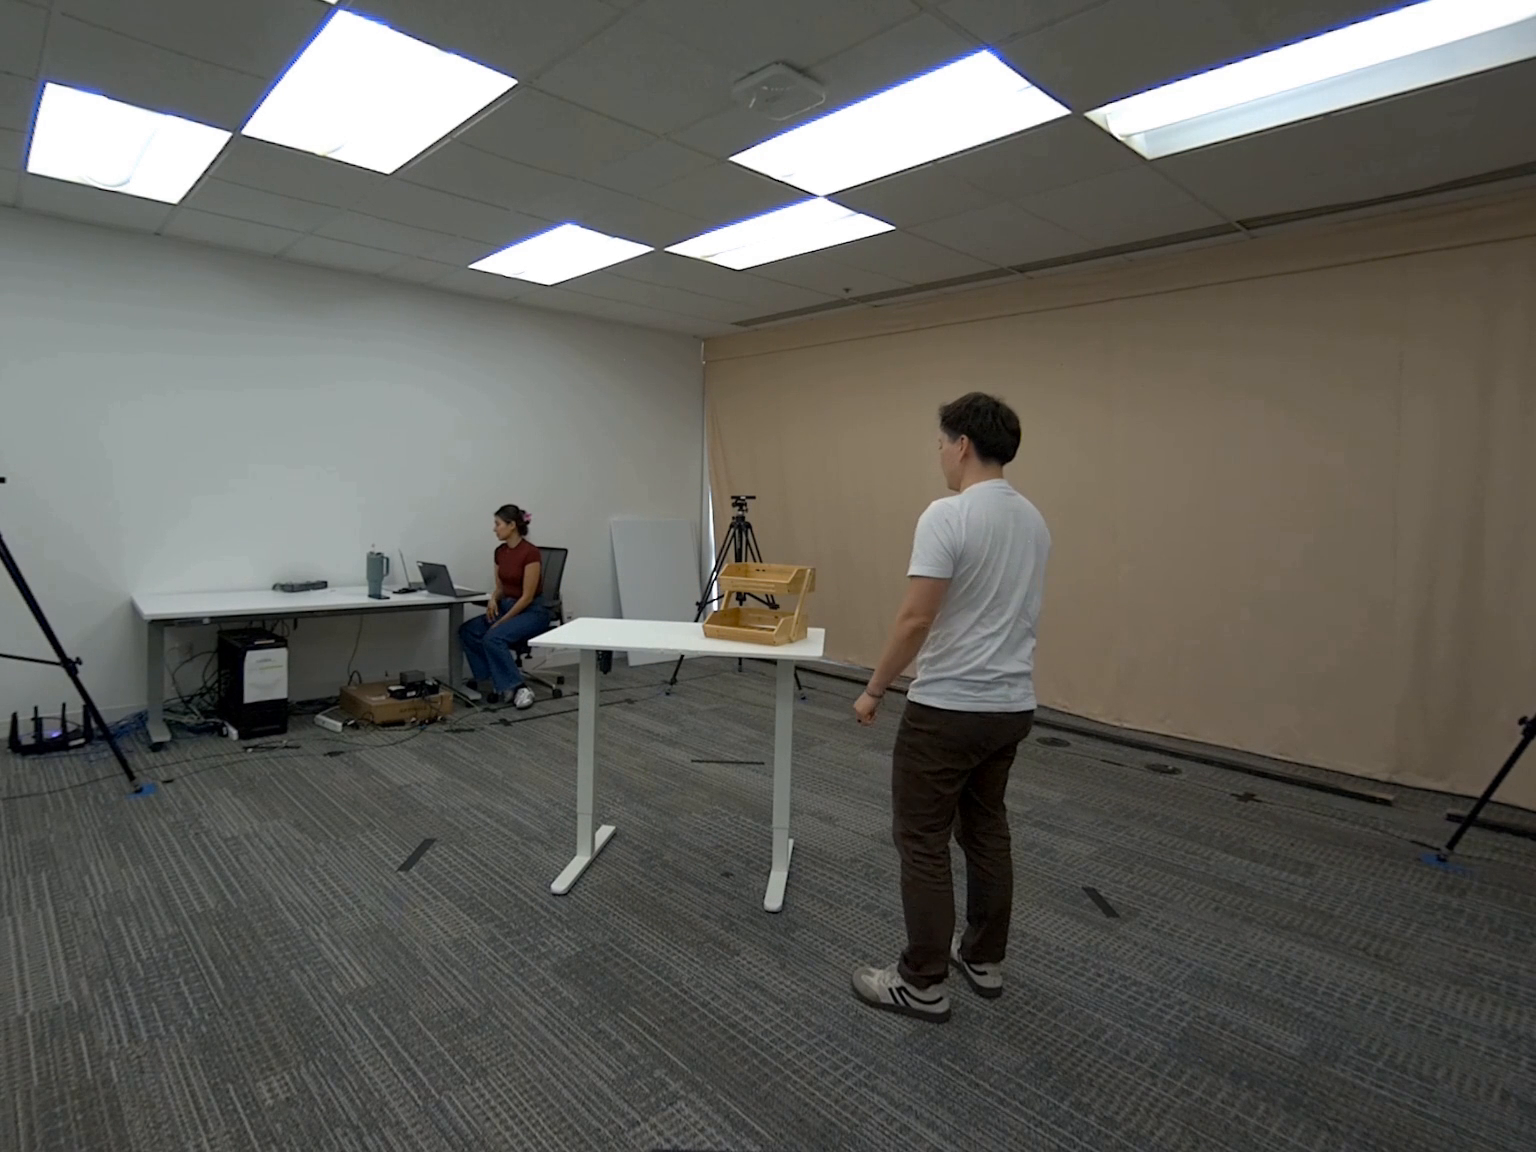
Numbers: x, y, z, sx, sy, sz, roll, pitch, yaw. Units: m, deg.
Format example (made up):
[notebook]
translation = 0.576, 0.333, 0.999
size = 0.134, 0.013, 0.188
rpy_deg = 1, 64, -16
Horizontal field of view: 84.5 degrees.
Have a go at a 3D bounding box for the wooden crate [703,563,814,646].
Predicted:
[wooden crate]
translation = -0.043, 0.093, 3.091
size = 0.332, 0.273, 0.296
rpy_deg = 4, 4, 30
